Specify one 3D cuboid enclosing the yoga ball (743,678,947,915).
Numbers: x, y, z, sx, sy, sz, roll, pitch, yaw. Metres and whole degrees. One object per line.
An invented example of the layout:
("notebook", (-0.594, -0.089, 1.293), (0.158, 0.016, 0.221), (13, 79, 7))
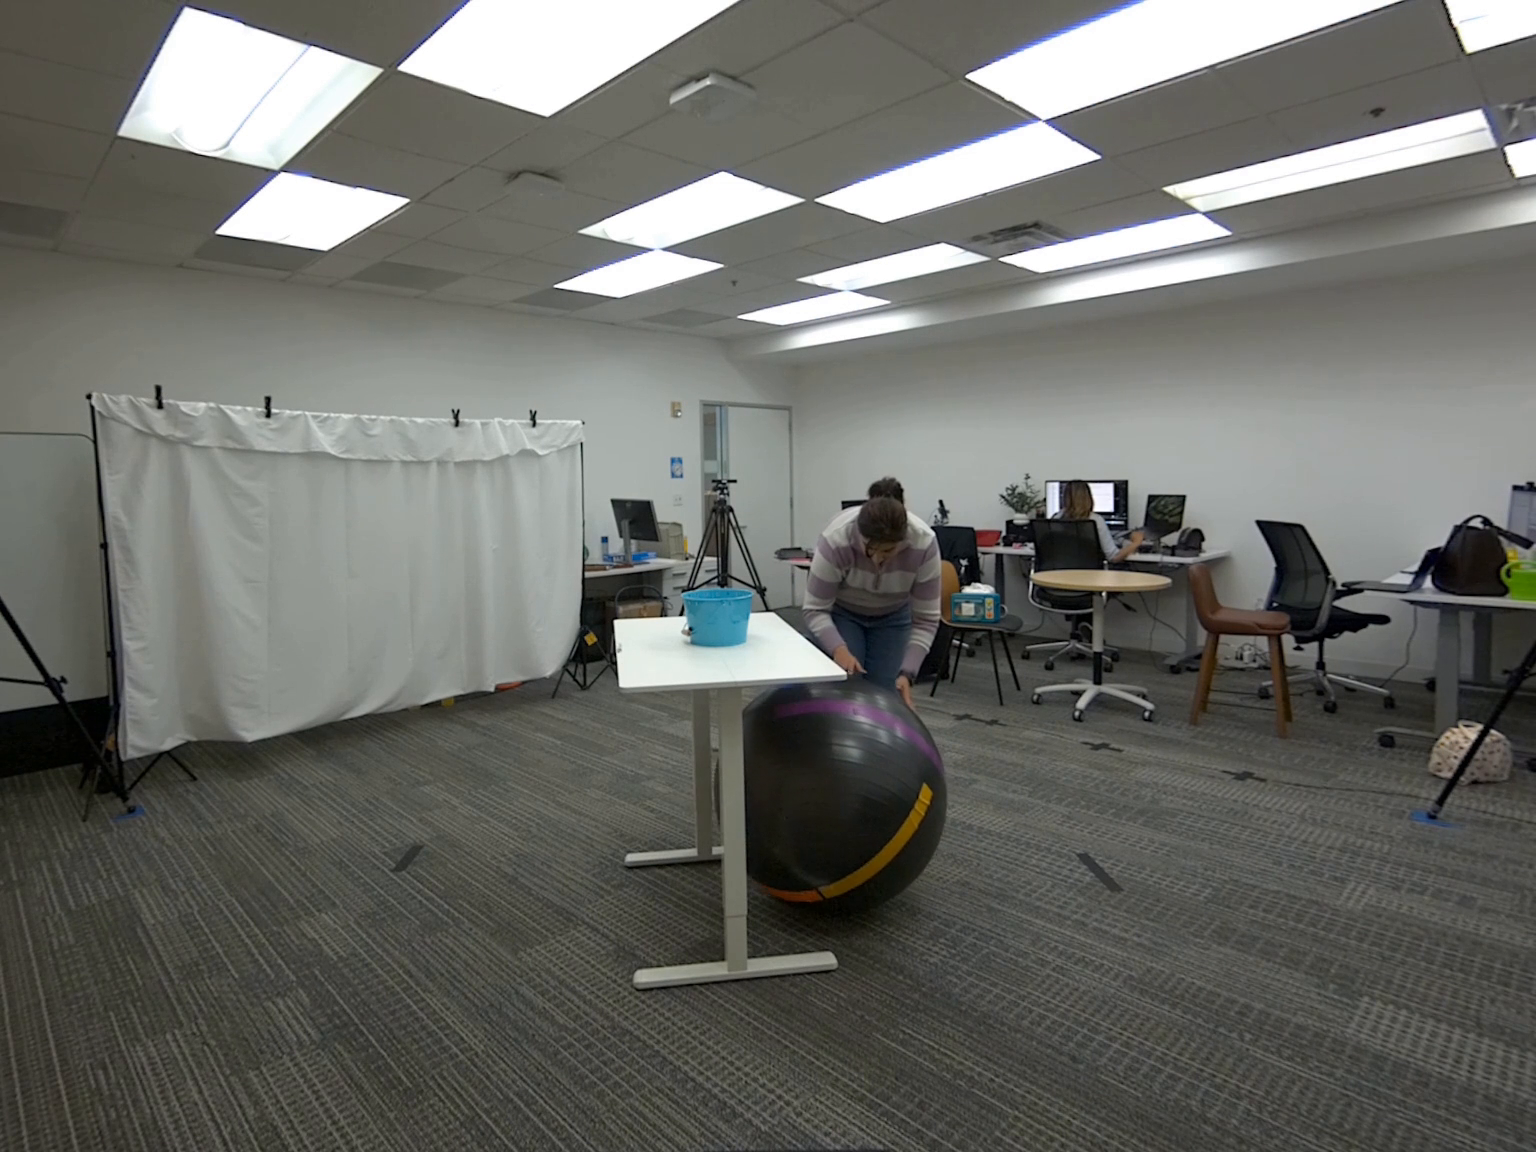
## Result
("yoga ball", (0.208, 0.707, 2.819), (0.757, 0.755, 0.762), (-1, 5, -2))
